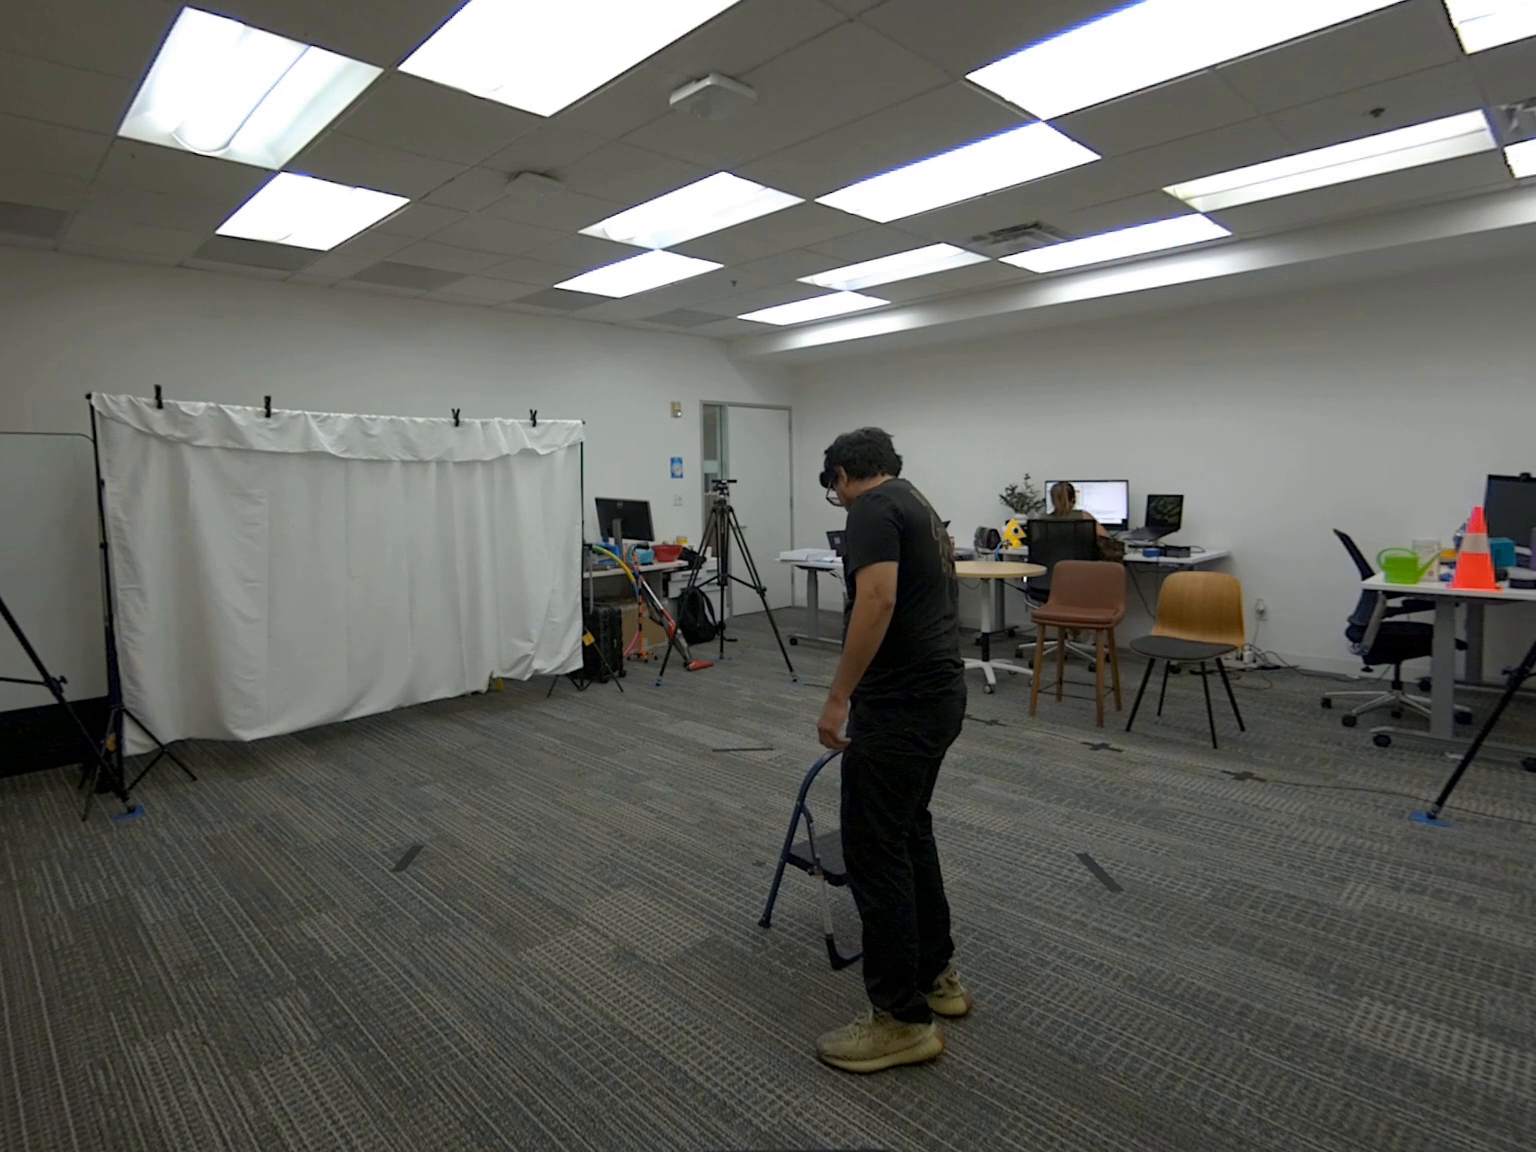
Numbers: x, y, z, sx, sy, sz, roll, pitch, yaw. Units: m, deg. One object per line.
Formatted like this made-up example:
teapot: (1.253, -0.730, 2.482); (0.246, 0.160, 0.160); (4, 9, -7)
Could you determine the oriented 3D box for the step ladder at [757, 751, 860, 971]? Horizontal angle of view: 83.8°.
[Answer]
step ladder: (0.238, 0.793, 2.659); (0.419, 0.604, 0.360); (-5, 6, -40)
